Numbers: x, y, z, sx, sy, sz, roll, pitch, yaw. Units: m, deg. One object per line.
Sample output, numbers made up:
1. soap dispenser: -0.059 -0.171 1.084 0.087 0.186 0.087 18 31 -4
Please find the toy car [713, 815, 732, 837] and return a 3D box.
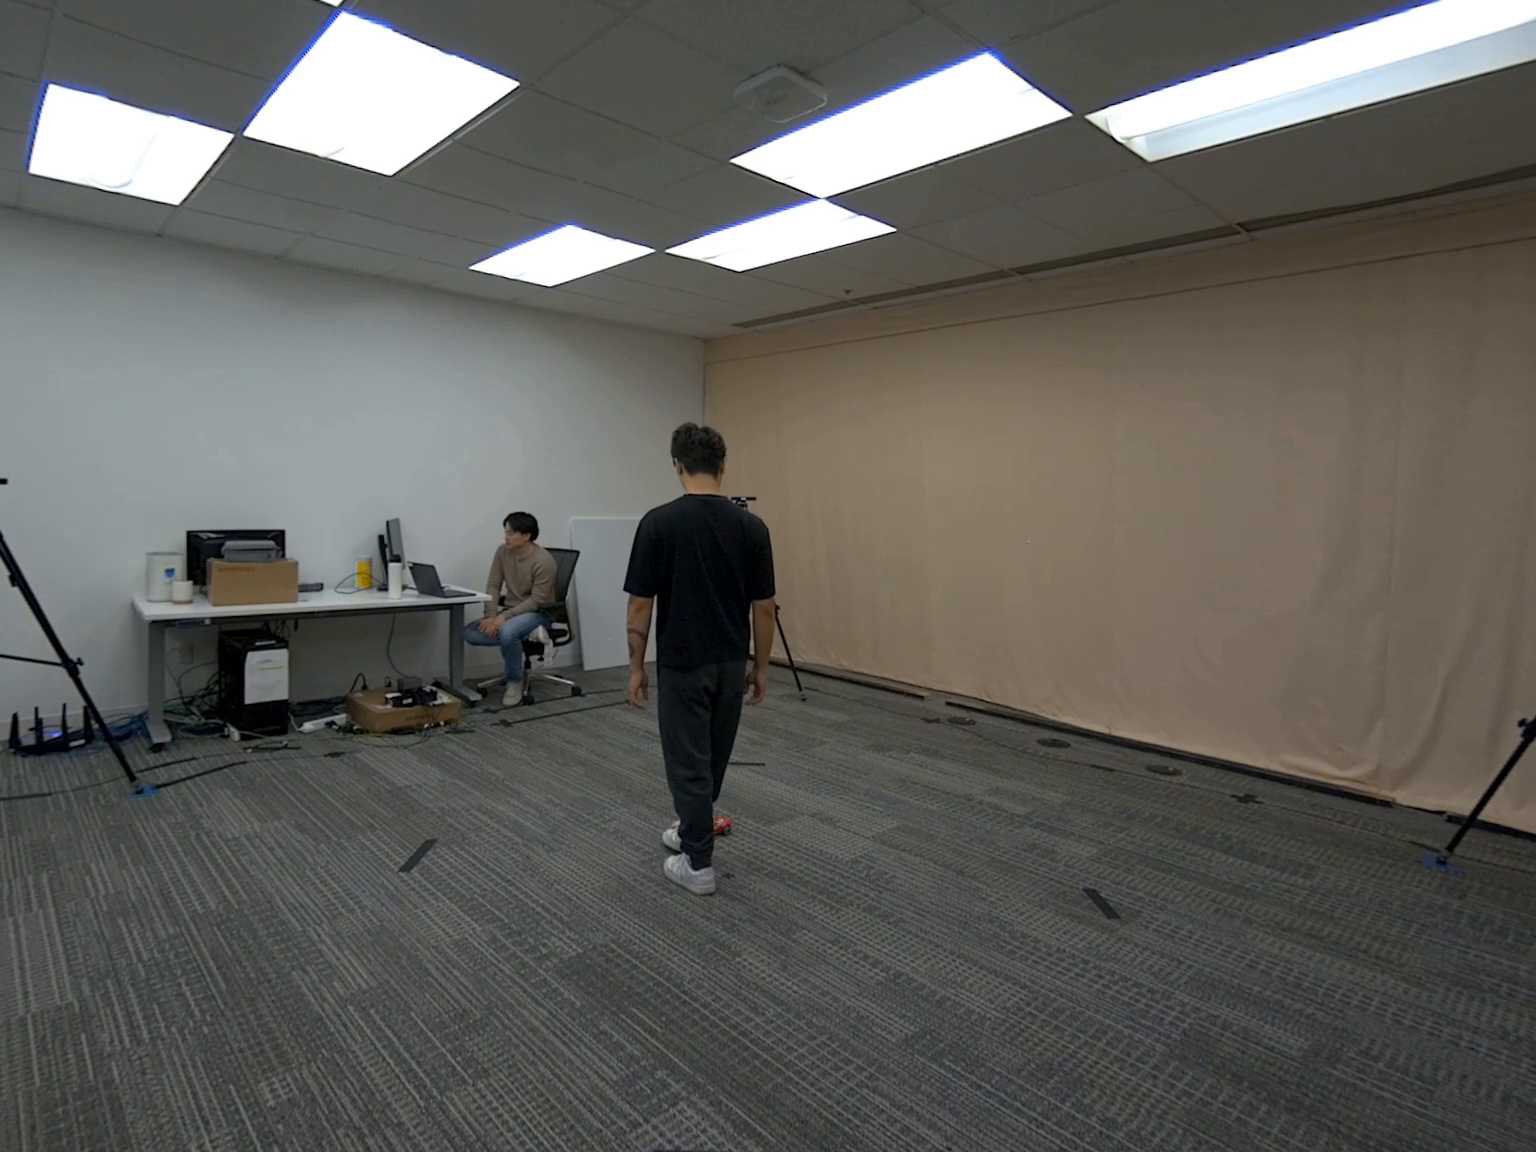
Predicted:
1. toy car: -0.284 1.042 3.474 0.248 0.083 0.133 12 -3 -37
